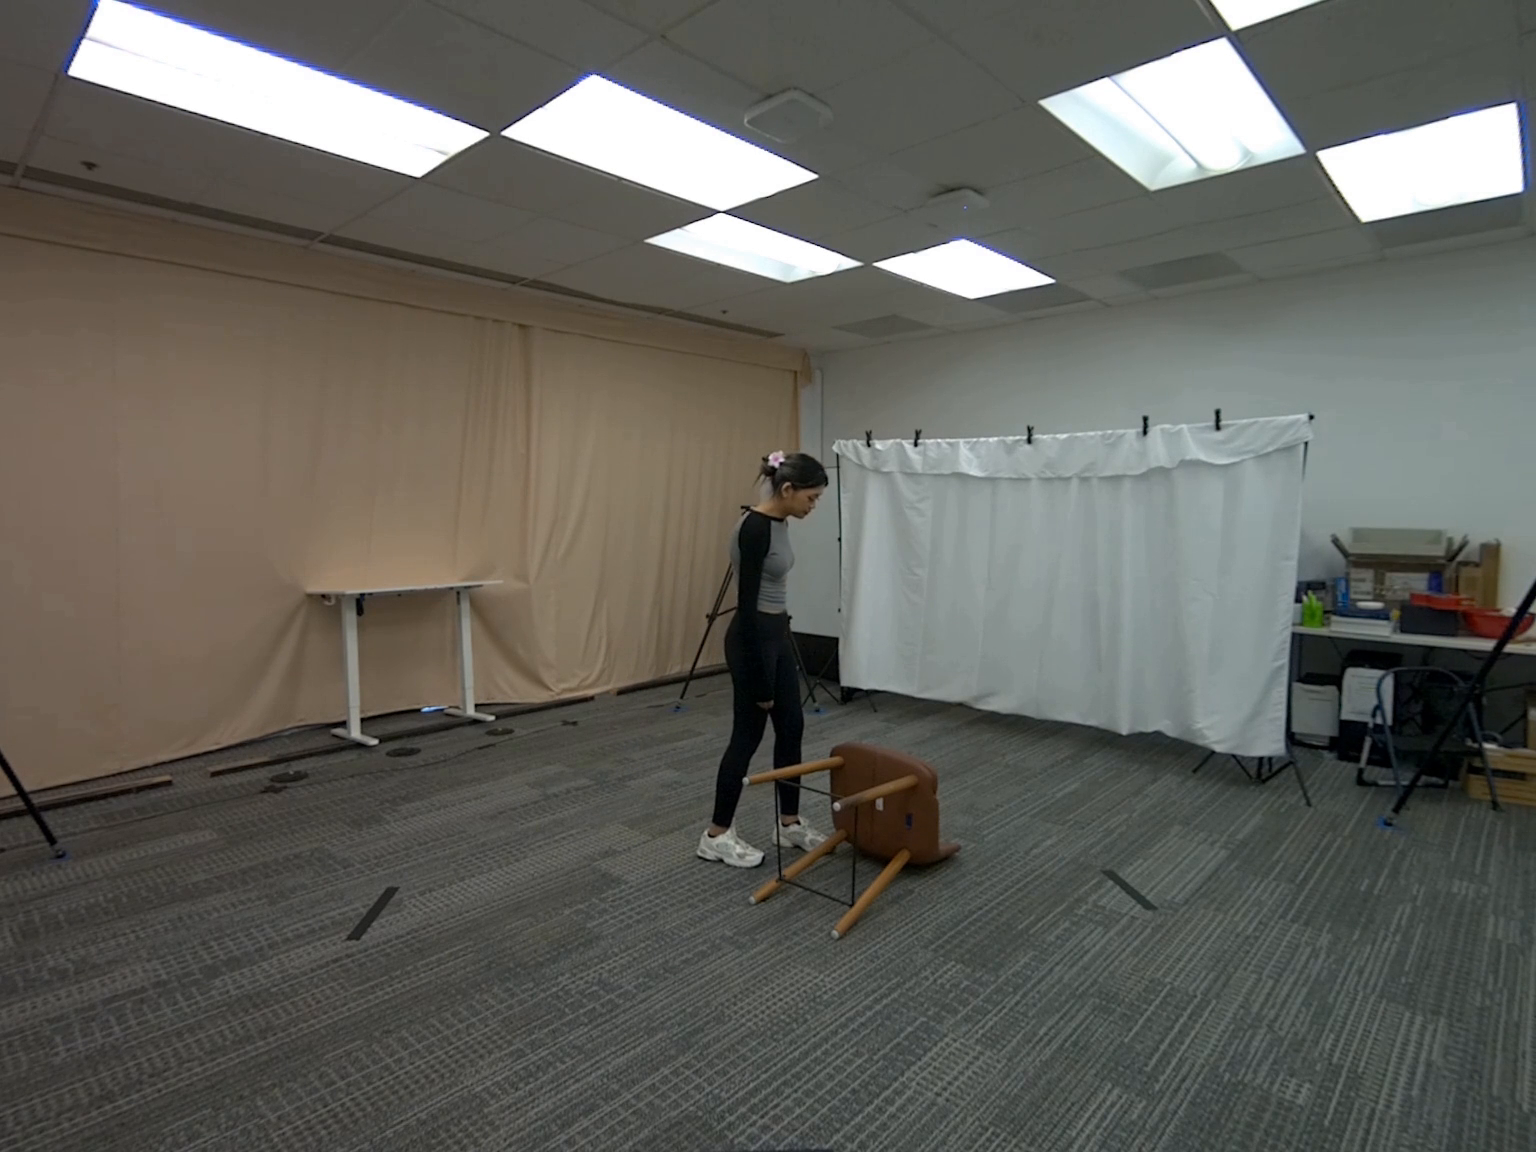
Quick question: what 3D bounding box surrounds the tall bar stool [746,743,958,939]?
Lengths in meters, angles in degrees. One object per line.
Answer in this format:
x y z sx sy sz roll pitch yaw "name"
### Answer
0.353 0.901 3.123 0.471 0.466 0.863 3 5 41 "tall bar stool"
